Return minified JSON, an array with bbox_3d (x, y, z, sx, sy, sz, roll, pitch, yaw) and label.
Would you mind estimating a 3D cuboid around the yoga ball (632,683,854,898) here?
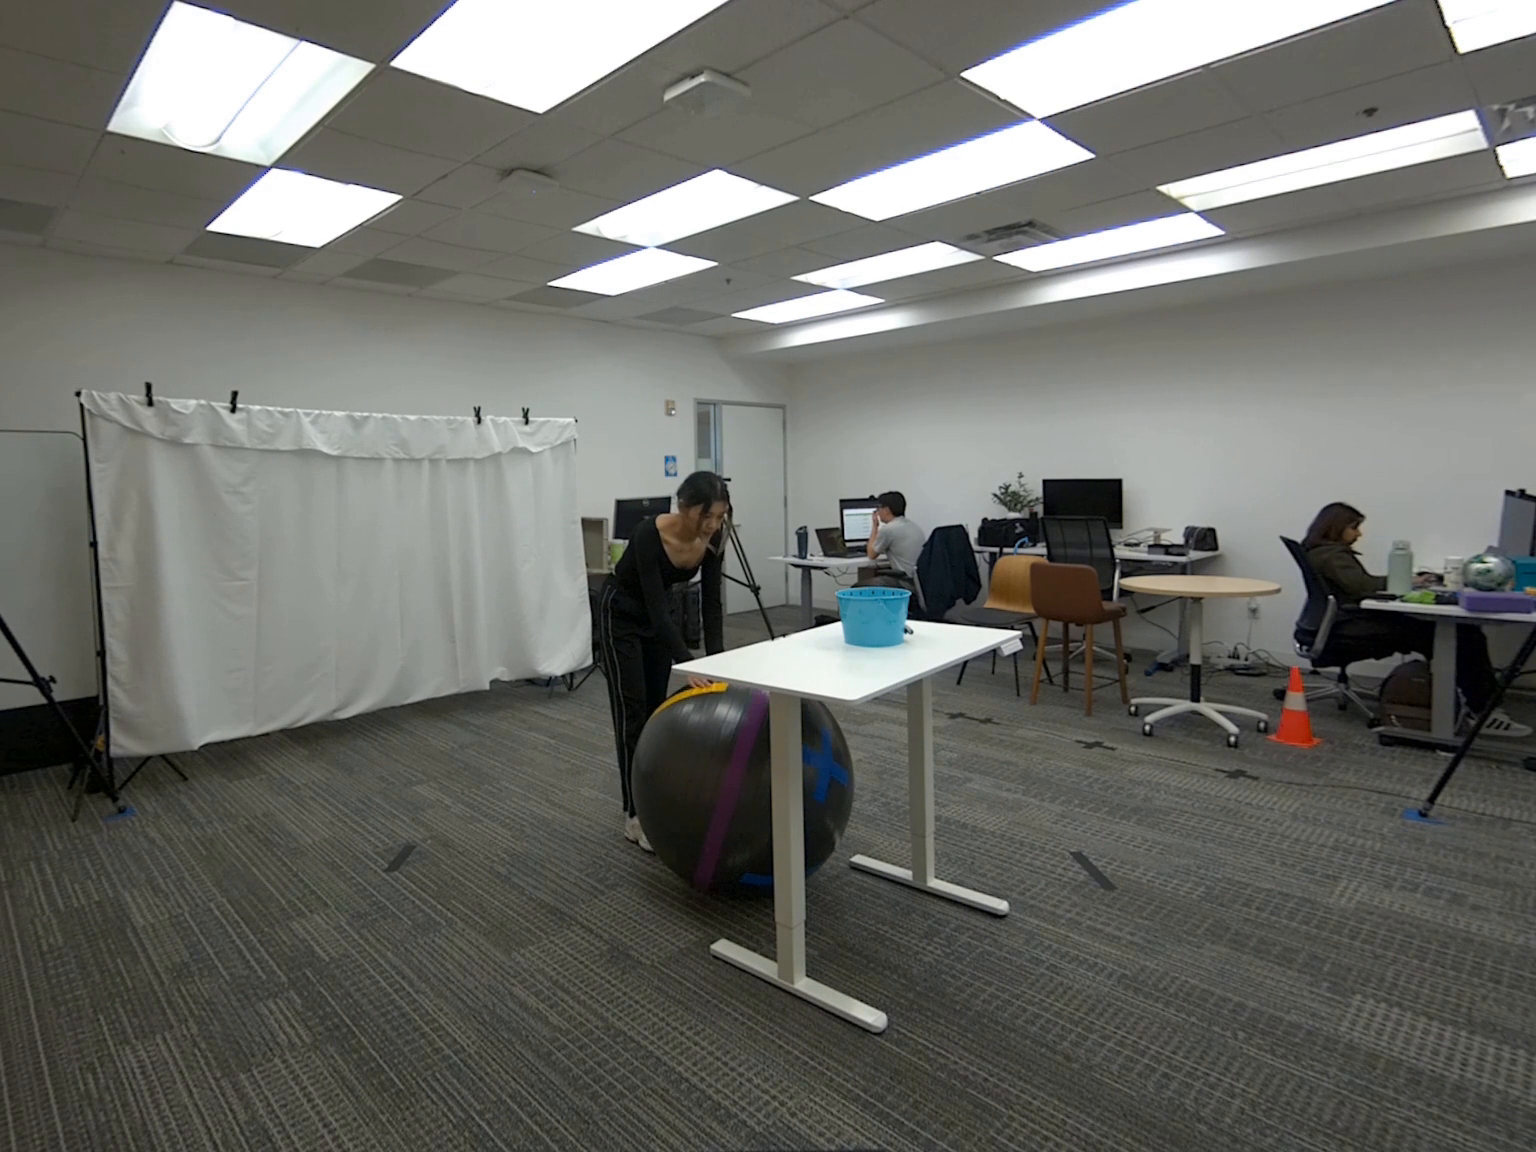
[{"bbox_3d":[-0.085,0.698,2.928,0.757,0.755,0.762,-1,5,-2],"label":"yoga ball"}]
